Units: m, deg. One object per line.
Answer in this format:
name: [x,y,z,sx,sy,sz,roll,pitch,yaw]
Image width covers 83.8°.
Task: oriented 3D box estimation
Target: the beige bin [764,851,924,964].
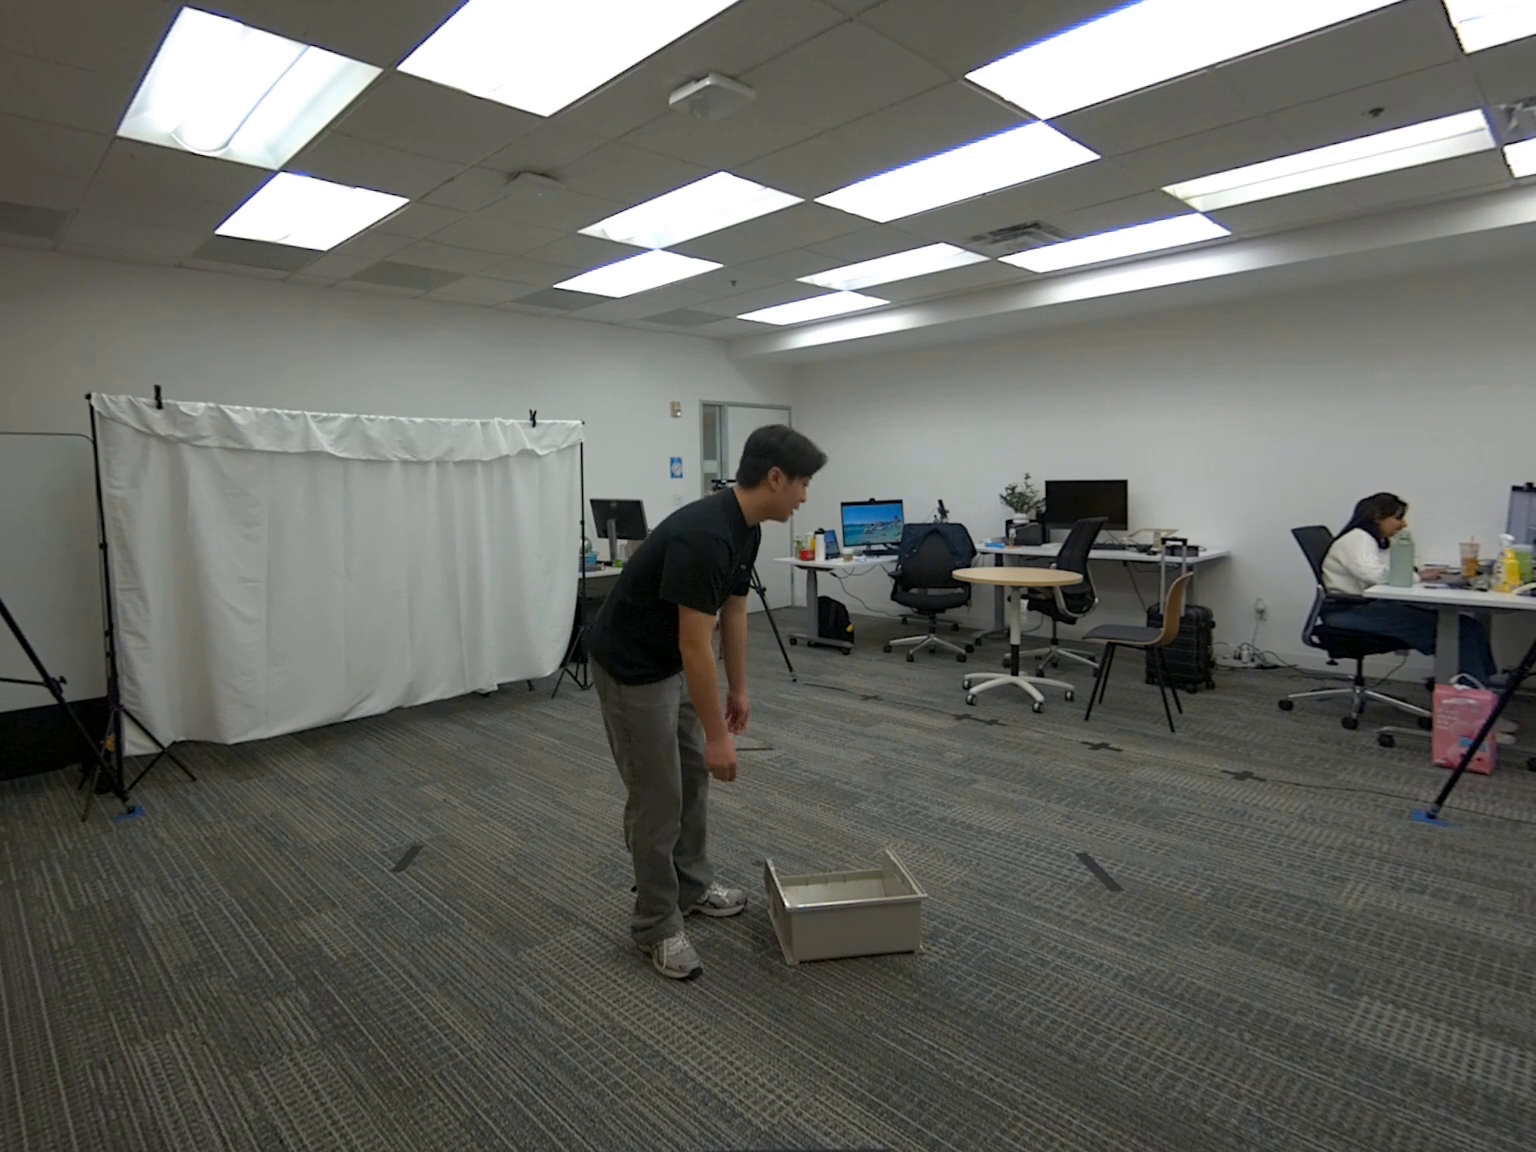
beige bin: [0.226,1.007,2.646,0.419,0.188,0.382,-2,6,-9]
